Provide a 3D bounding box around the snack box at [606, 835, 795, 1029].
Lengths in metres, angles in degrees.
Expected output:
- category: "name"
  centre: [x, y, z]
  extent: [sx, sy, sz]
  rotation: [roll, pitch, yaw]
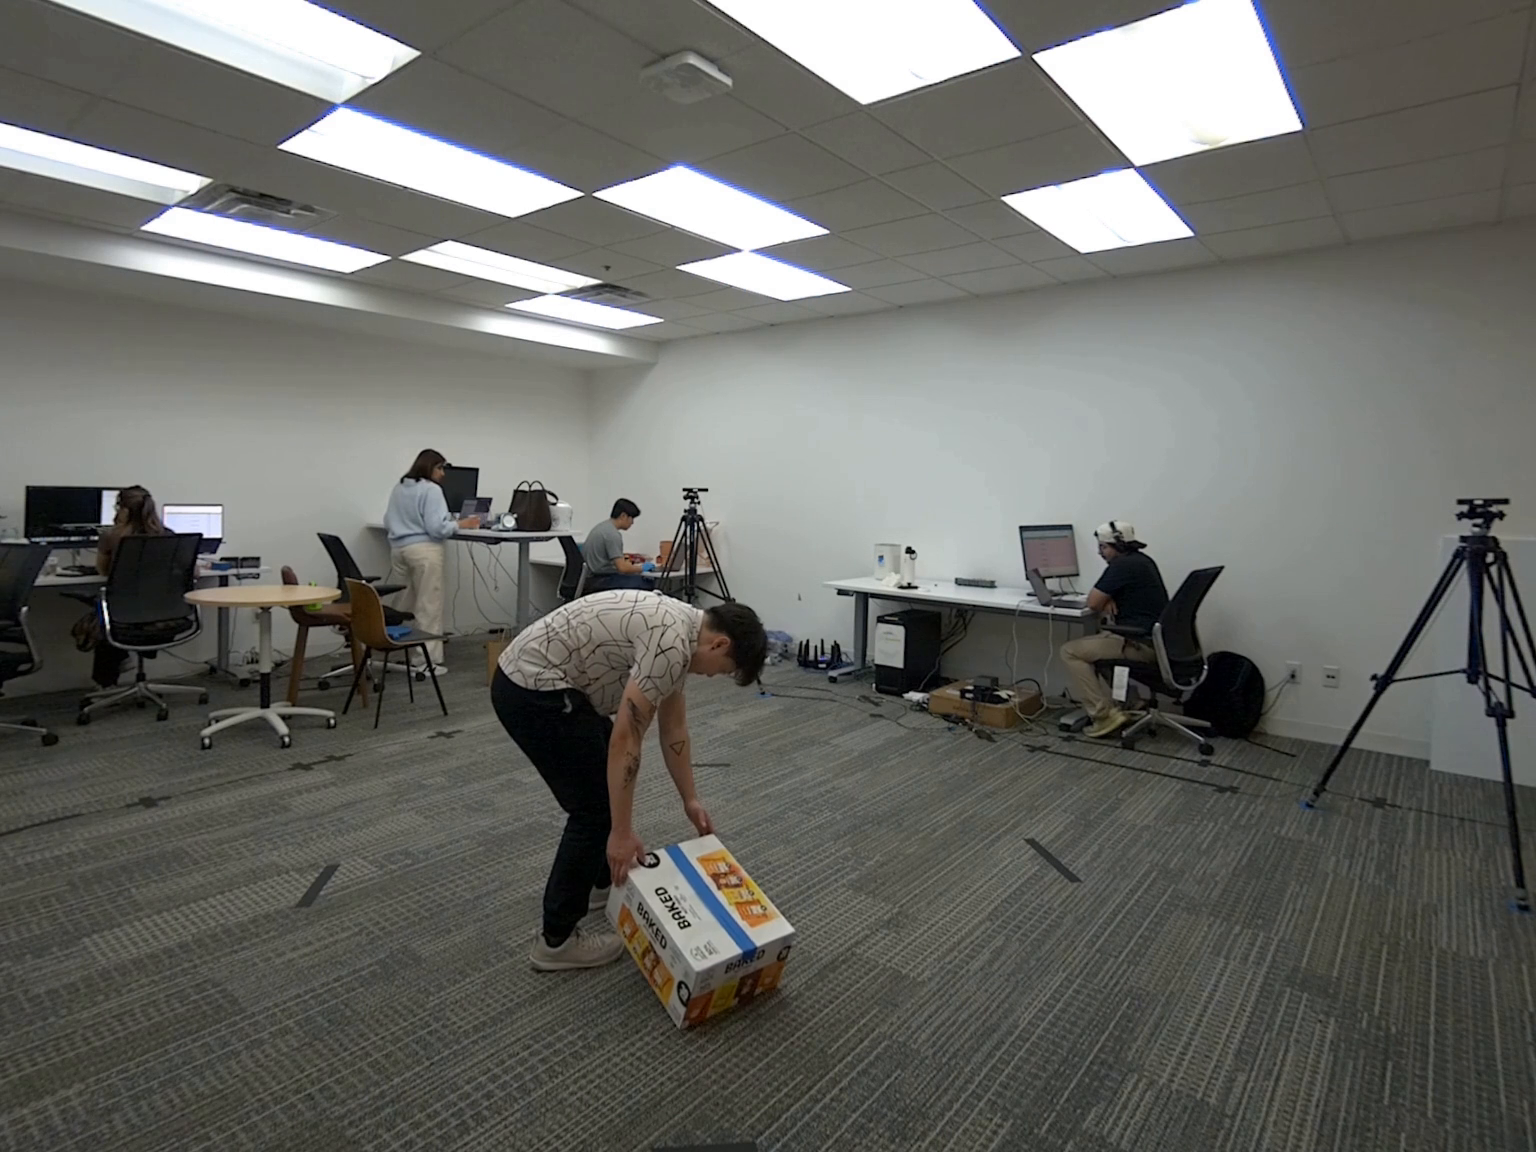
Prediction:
- category: "snack box"
  centre: [-0.203, 0.974, 2.392]
  extent: [0.330, 0.203, 0.423]
  rotation: [-3, 28, -40]
